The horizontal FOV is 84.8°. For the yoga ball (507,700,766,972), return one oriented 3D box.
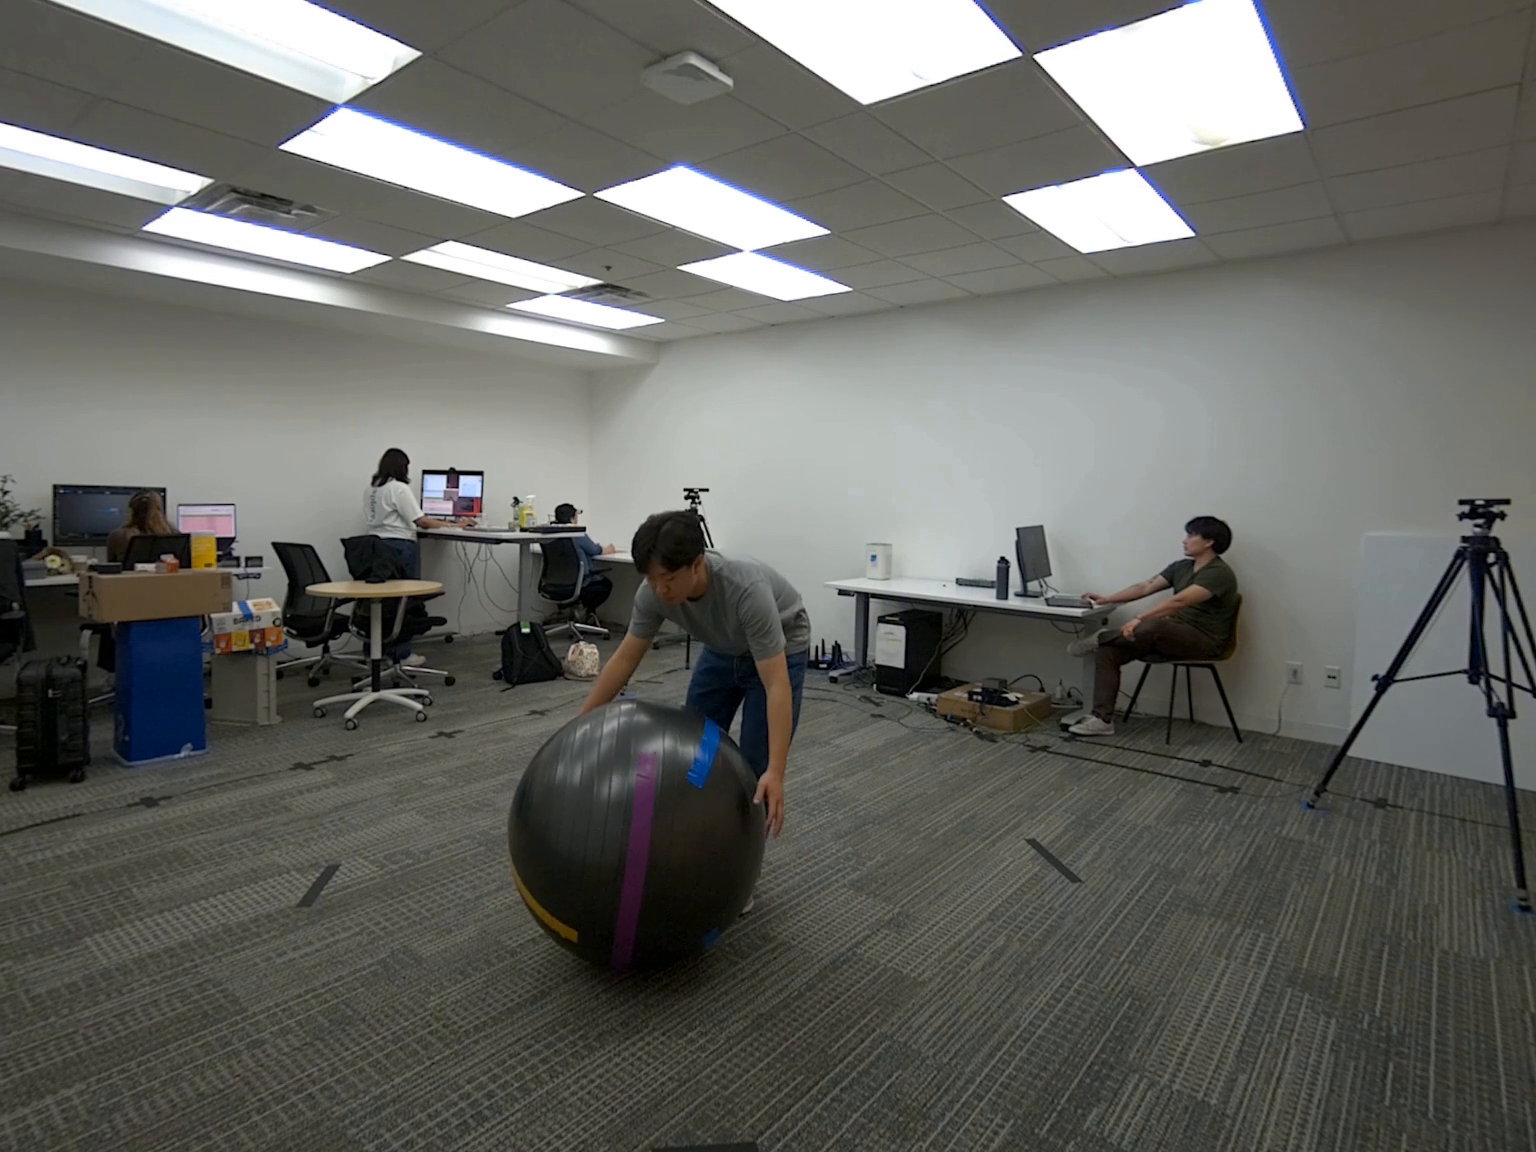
[{"bbox_3d":[-0.398,0.756,2.526,0.757,0.755,0.762,1,4,-2],"label":"yoga ball"}]
